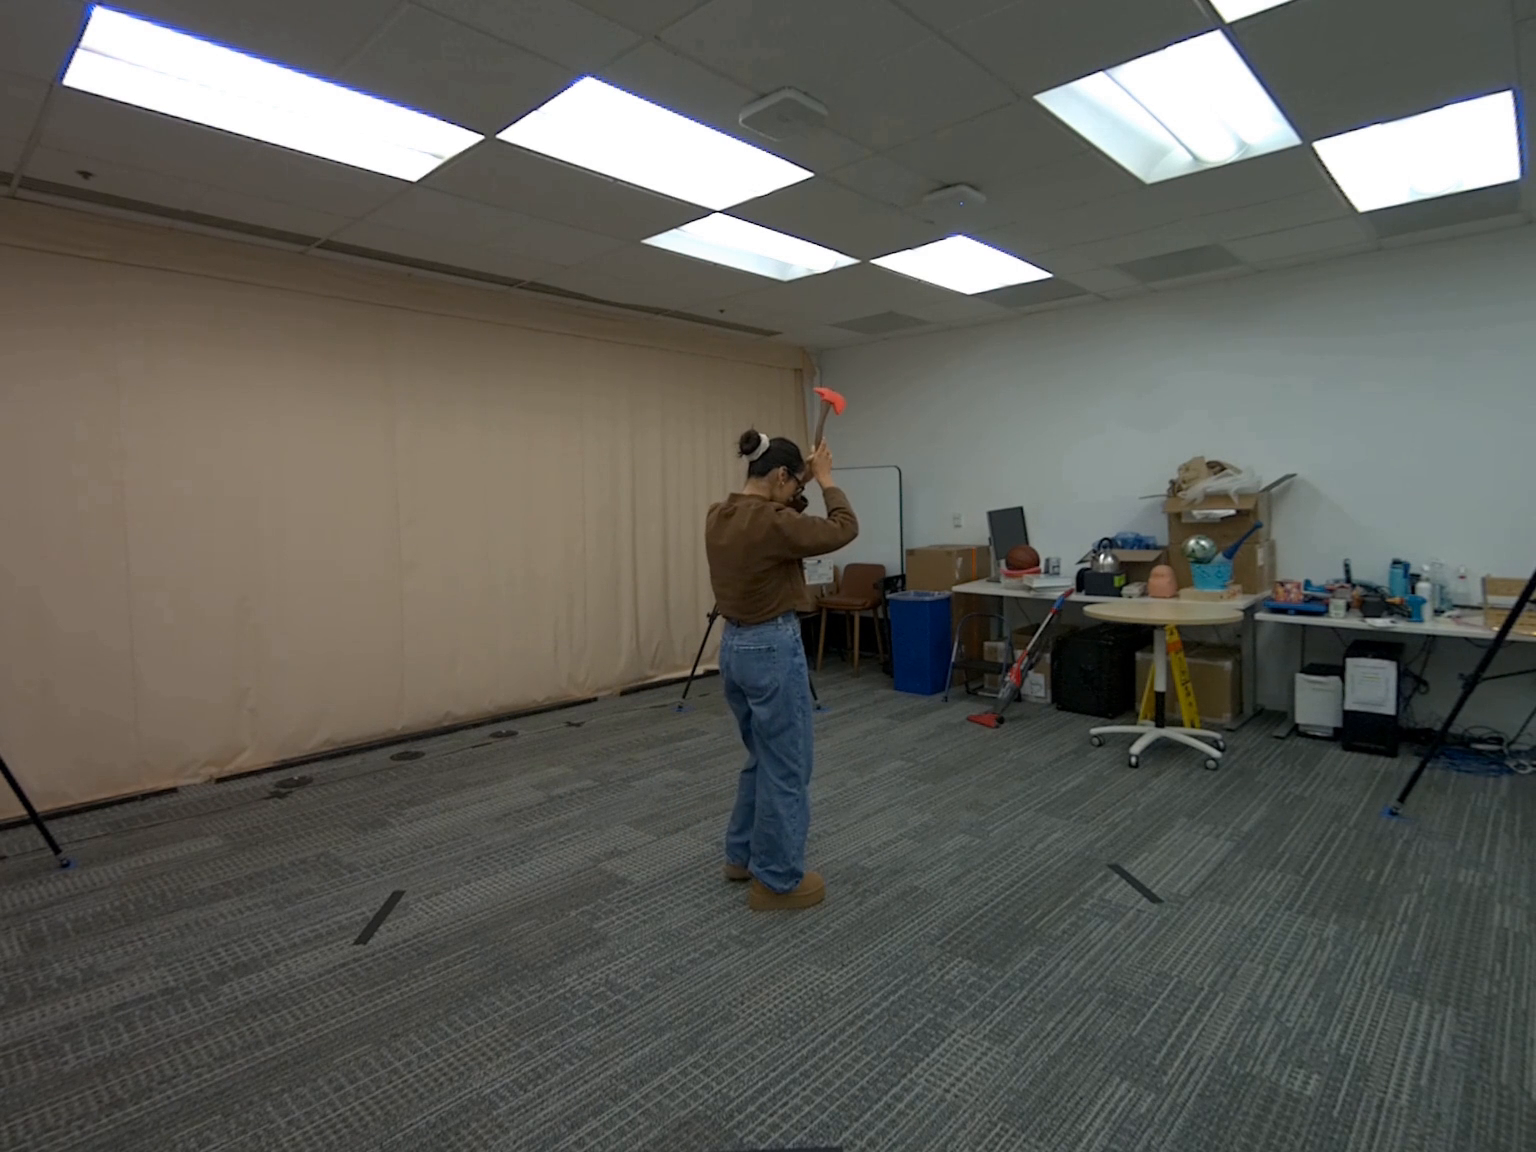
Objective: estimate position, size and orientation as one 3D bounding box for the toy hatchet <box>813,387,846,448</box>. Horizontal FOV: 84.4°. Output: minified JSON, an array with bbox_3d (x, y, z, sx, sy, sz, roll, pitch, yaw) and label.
[{"bbox_3d":[0.220,-0.545,3.024,0.128,0.270,0.030,1,-1,-21],"label":"toy hatchet"}]
